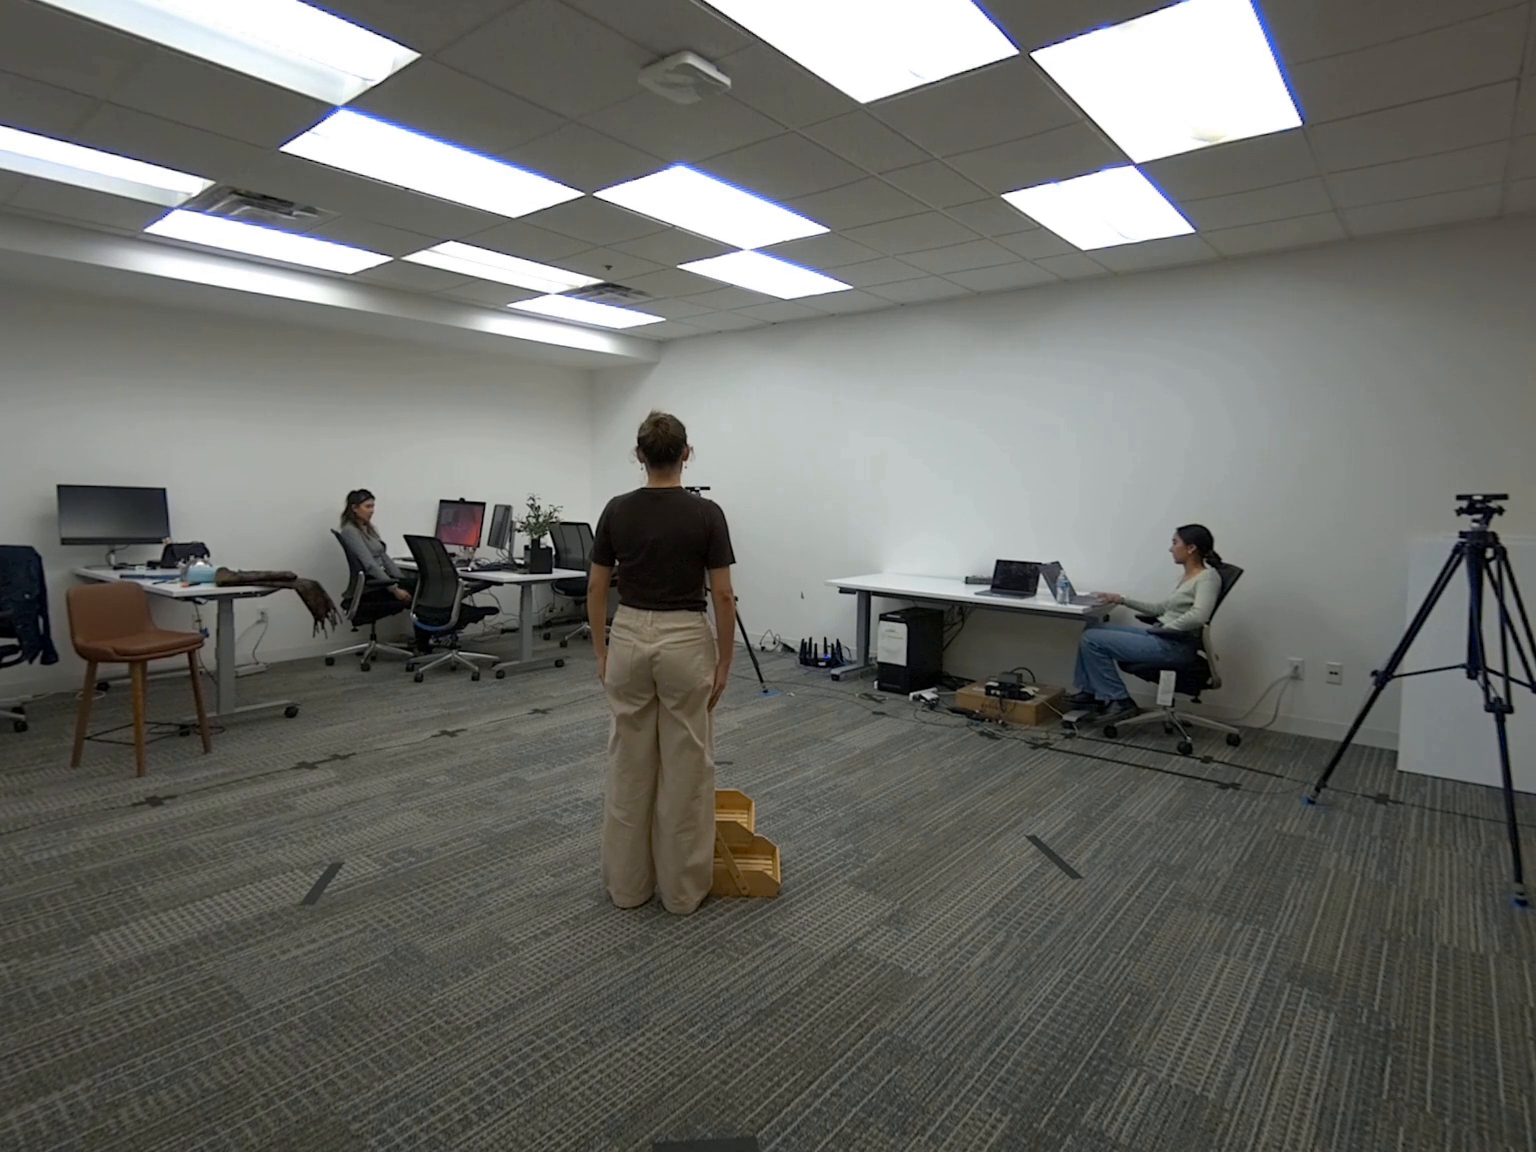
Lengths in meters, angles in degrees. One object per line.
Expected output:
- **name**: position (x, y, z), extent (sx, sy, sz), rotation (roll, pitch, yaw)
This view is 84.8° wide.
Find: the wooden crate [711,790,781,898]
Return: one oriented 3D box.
- **wooden crate**: position (-0.109, 0.941, 3.046), extent (0.302, 0.272, 0.325), rotation (0, 5, 0)
